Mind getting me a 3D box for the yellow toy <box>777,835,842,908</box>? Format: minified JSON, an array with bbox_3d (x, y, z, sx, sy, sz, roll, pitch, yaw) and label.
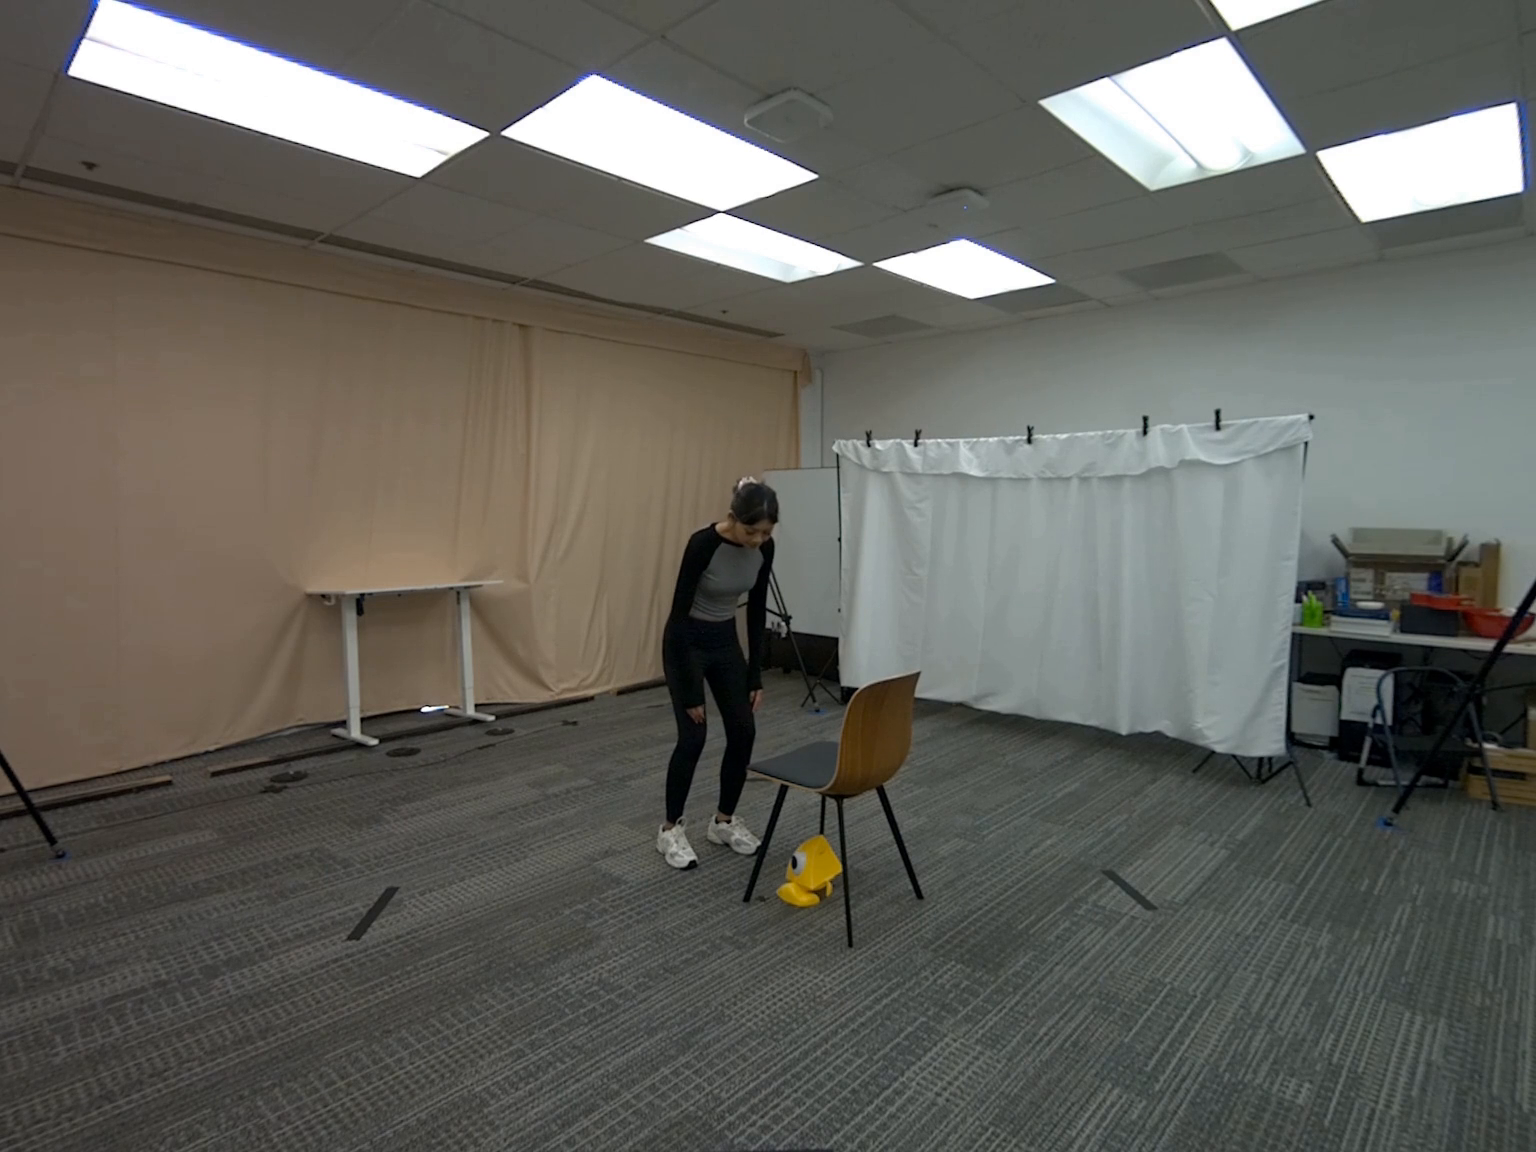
[{"bbox_3d":[0.144,1.031,3.013,0.199,0.230,0.199,4,6,40],"label":"yellow toy"}]
